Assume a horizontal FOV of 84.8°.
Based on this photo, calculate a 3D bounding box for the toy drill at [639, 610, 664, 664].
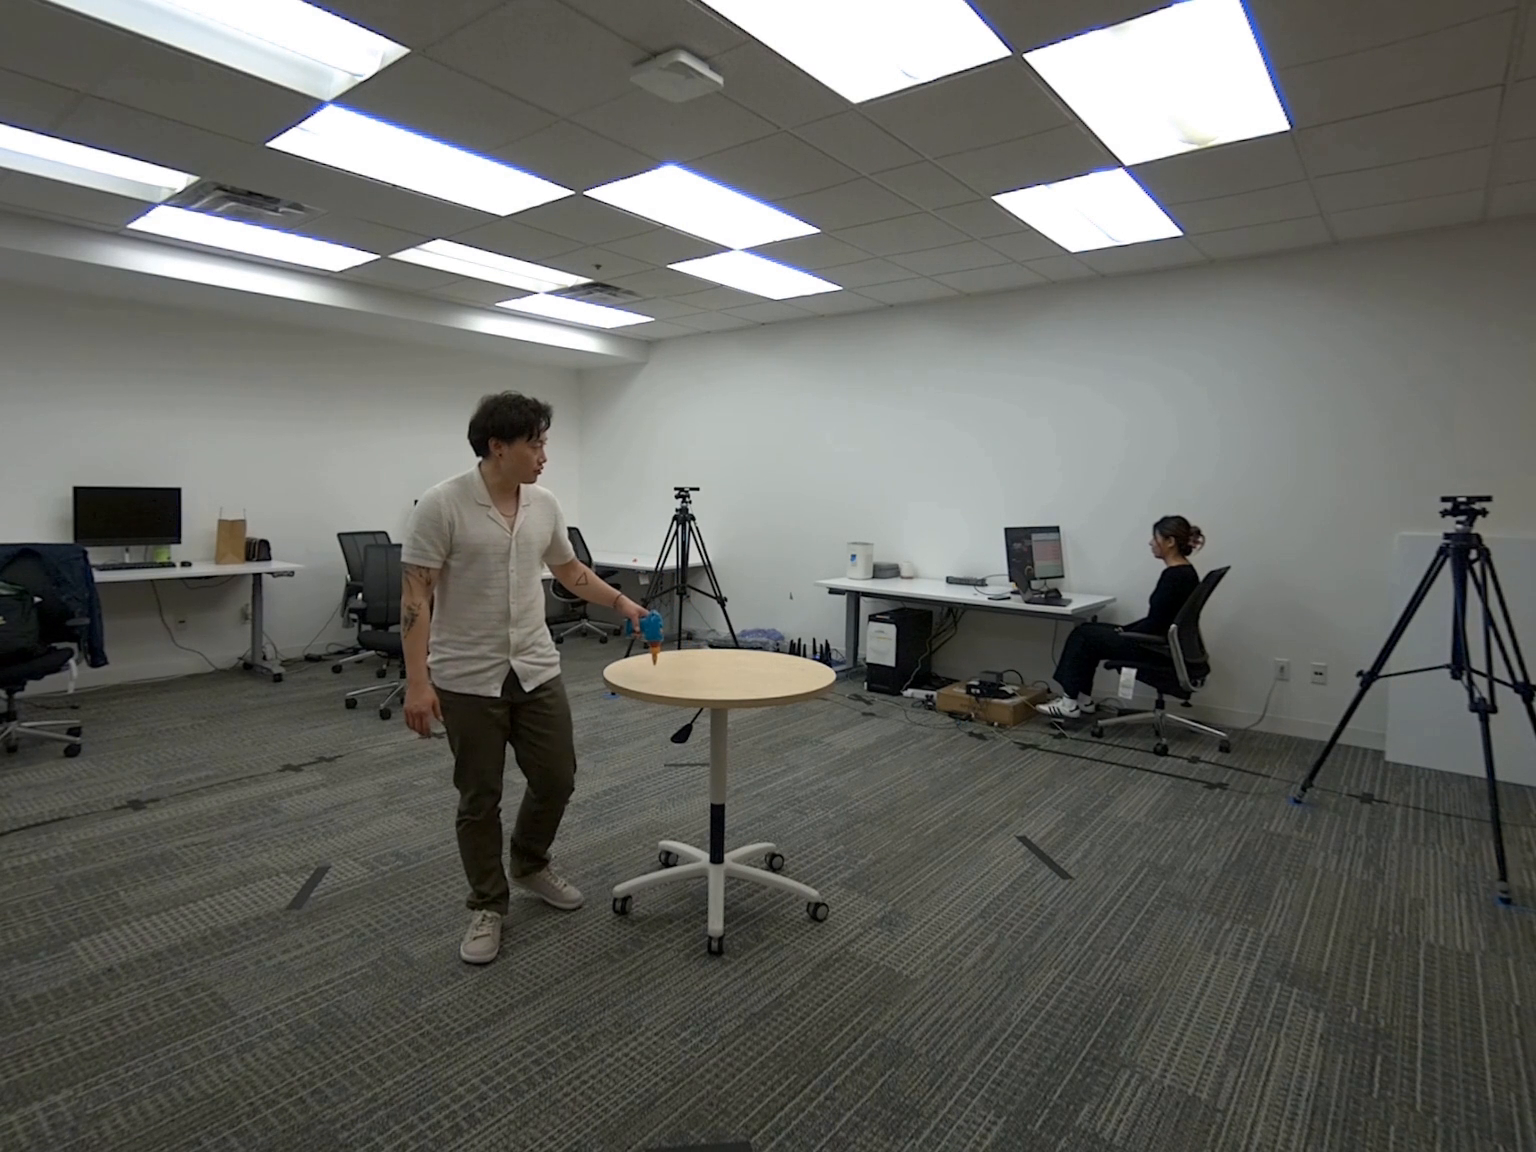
[{"bbox_3d":[-0.394,0.195,2.669,0.150,0.171,0.059,-8,-6,36],"label":"toy drill"}]
